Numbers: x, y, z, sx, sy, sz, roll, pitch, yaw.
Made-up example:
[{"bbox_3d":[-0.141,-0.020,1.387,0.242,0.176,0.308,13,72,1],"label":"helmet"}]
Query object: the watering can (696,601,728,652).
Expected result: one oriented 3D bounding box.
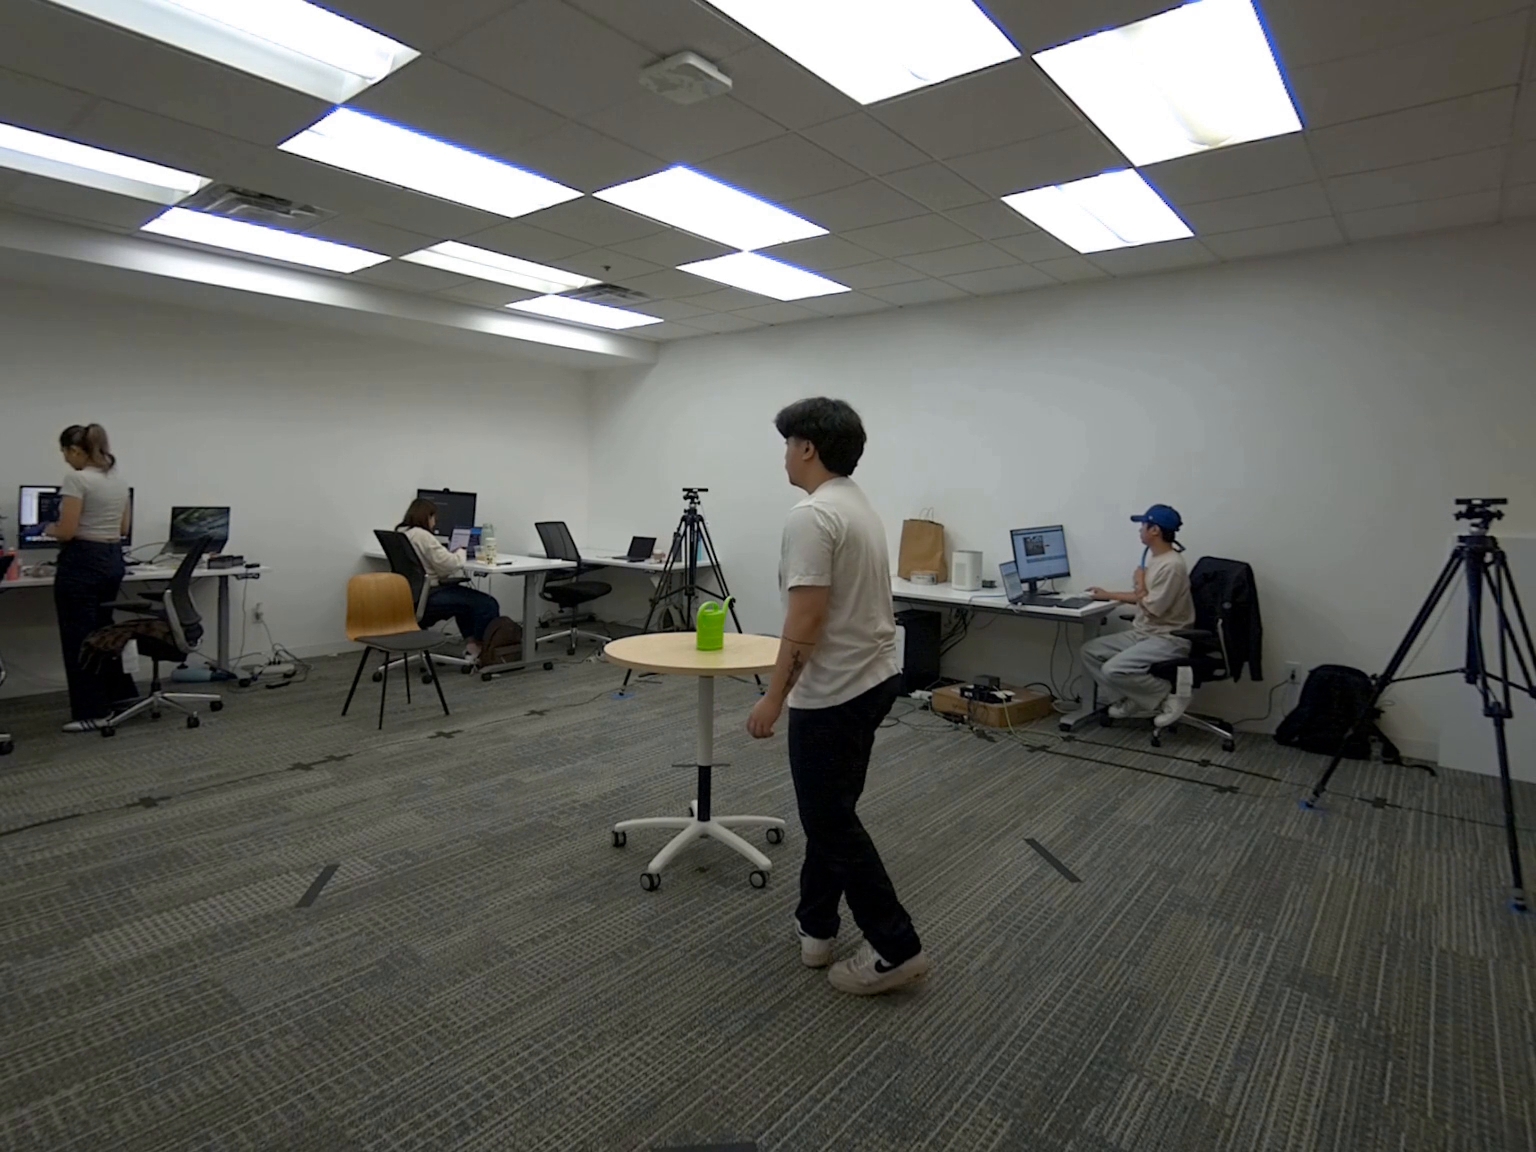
[{"bbox_3d":[-0.205,0.177,3.231,0.101,0.176,0.270,3,5,38],"label":"watering can"}]
